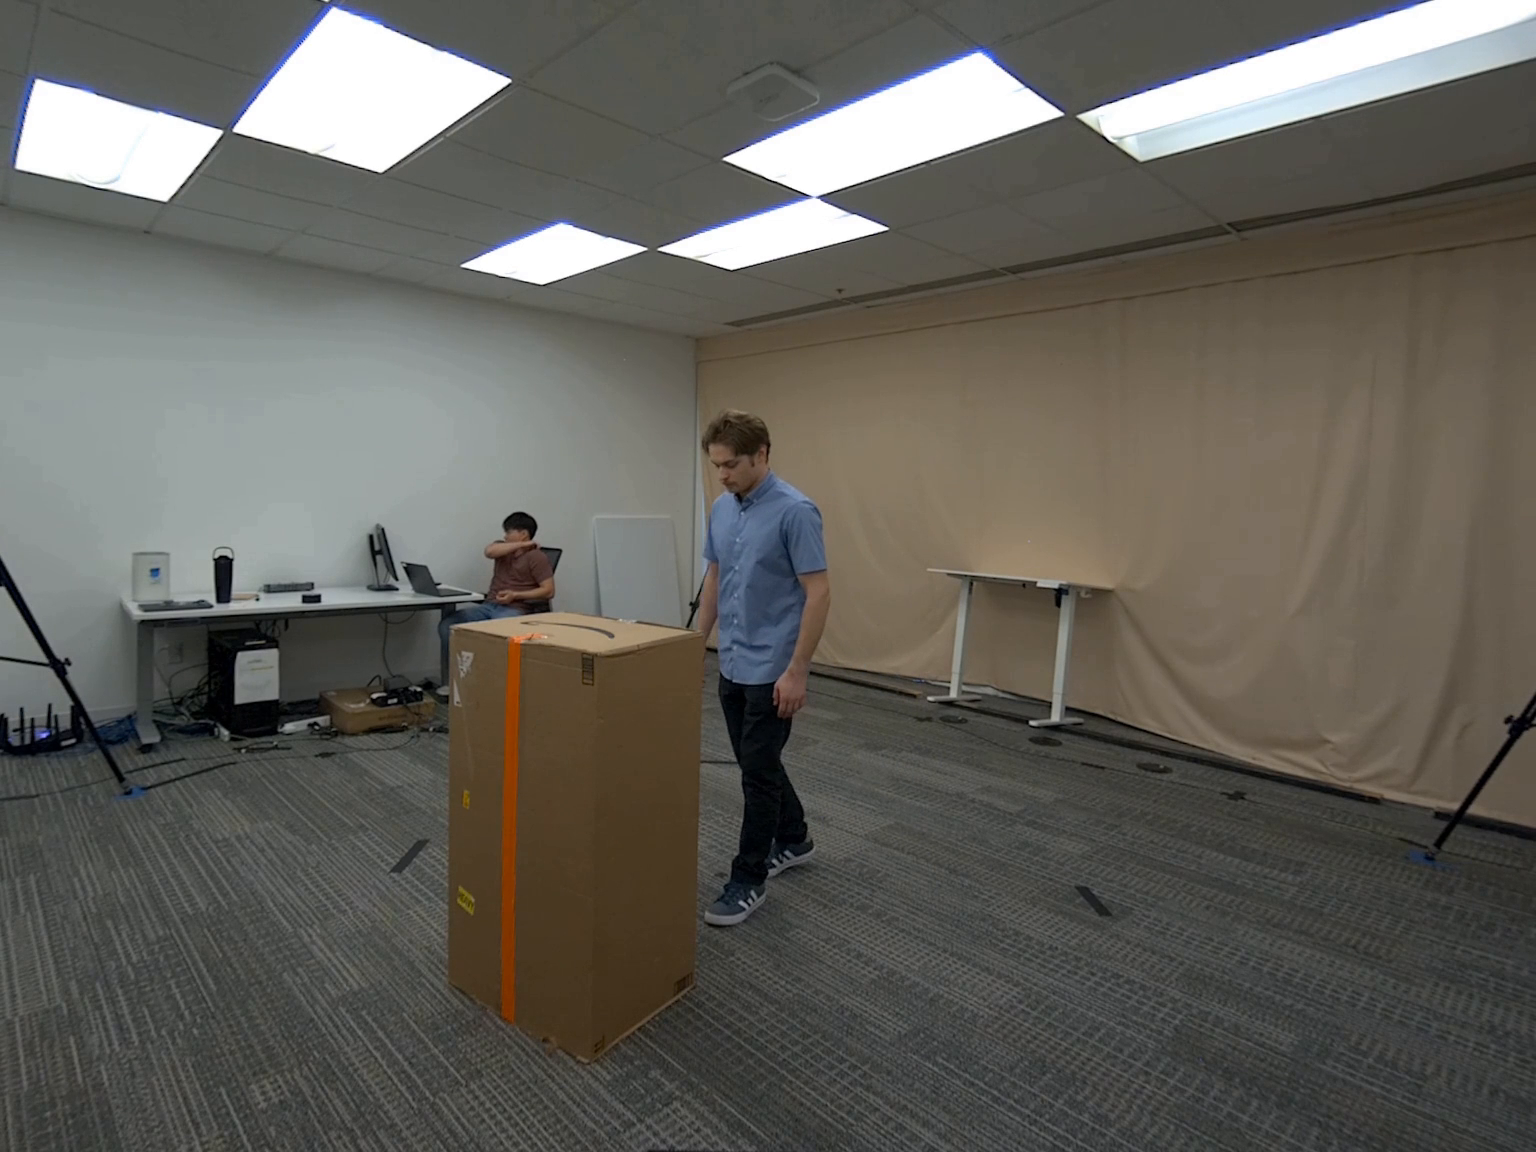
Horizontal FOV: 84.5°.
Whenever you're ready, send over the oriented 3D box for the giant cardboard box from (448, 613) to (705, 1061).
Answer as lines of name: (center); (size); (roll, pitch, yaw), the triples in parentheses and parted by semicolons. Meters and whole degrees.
giant cardboard box: (-0.551, 0.658, 2.350); (0.591, 1.023, 0.417); (4, 5, 36)
